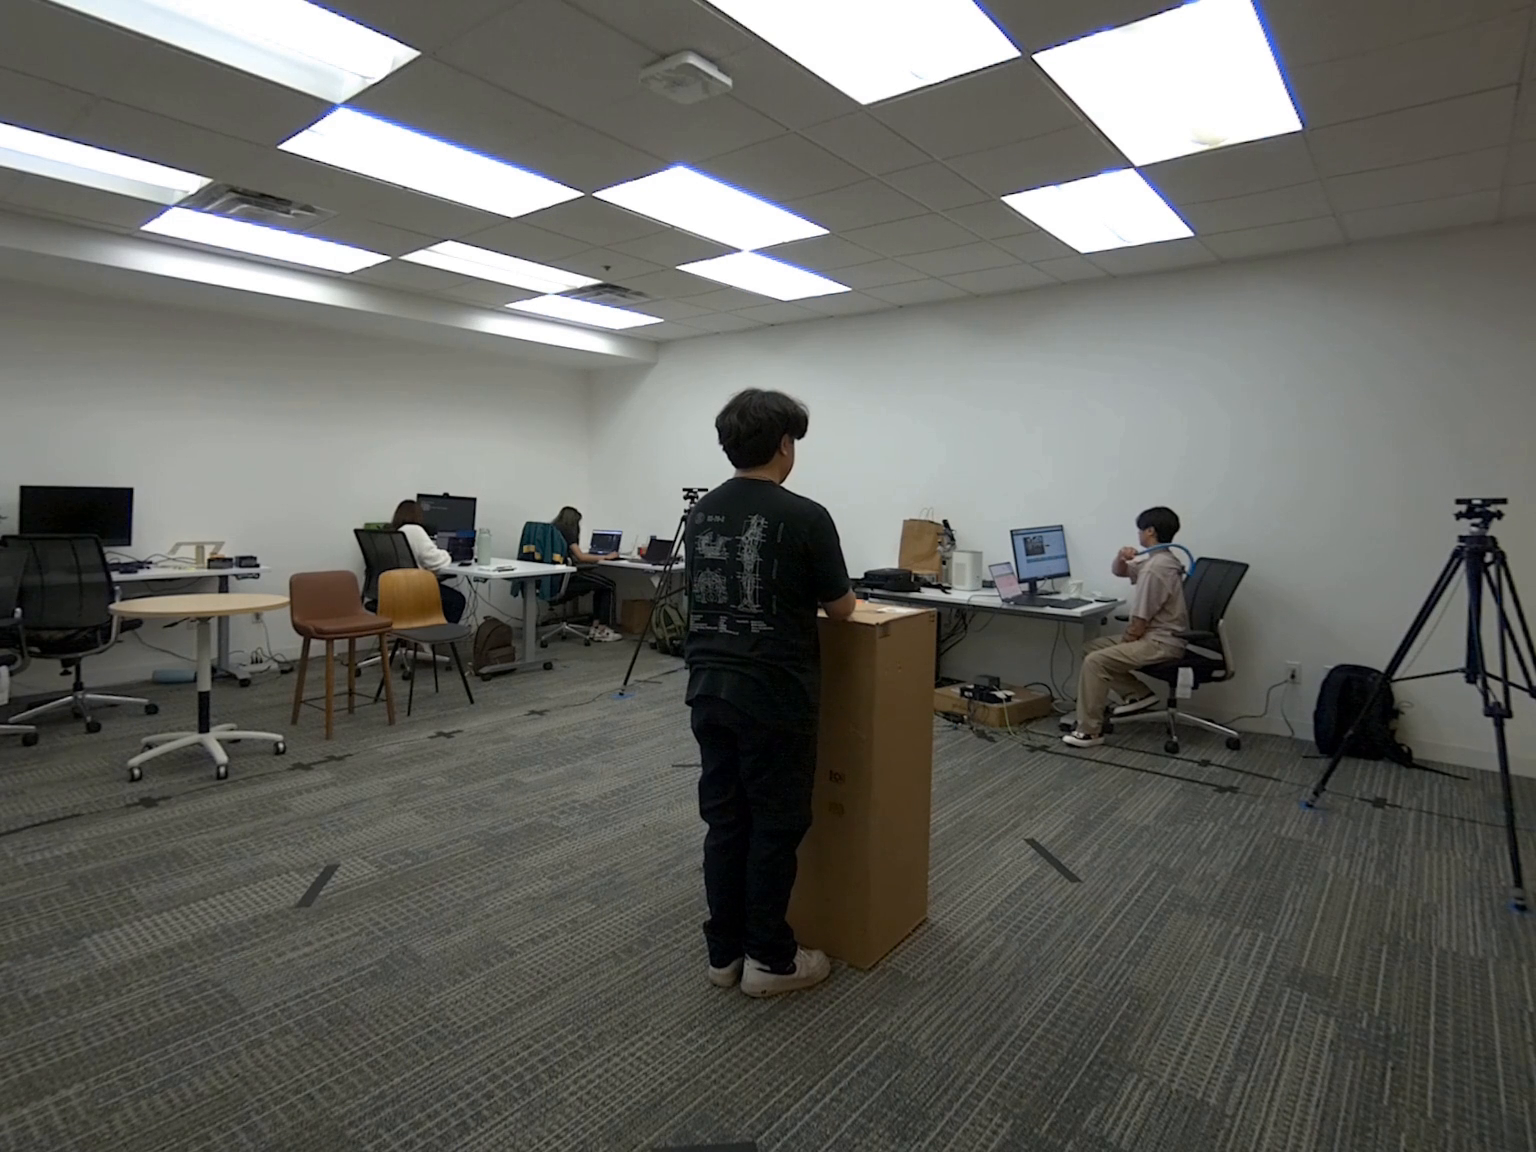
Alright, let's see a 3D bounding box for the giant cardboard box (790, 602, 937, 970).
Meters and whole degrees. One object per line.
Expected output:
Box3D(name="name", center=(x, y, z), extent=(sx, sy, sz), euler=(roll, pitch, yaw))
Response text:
Box3D(name="giant cardboard box", center=(0.178, 0.598, 2.783), extent=(0.603, 1.025, 0.433), euler=(4, 3, 37))
